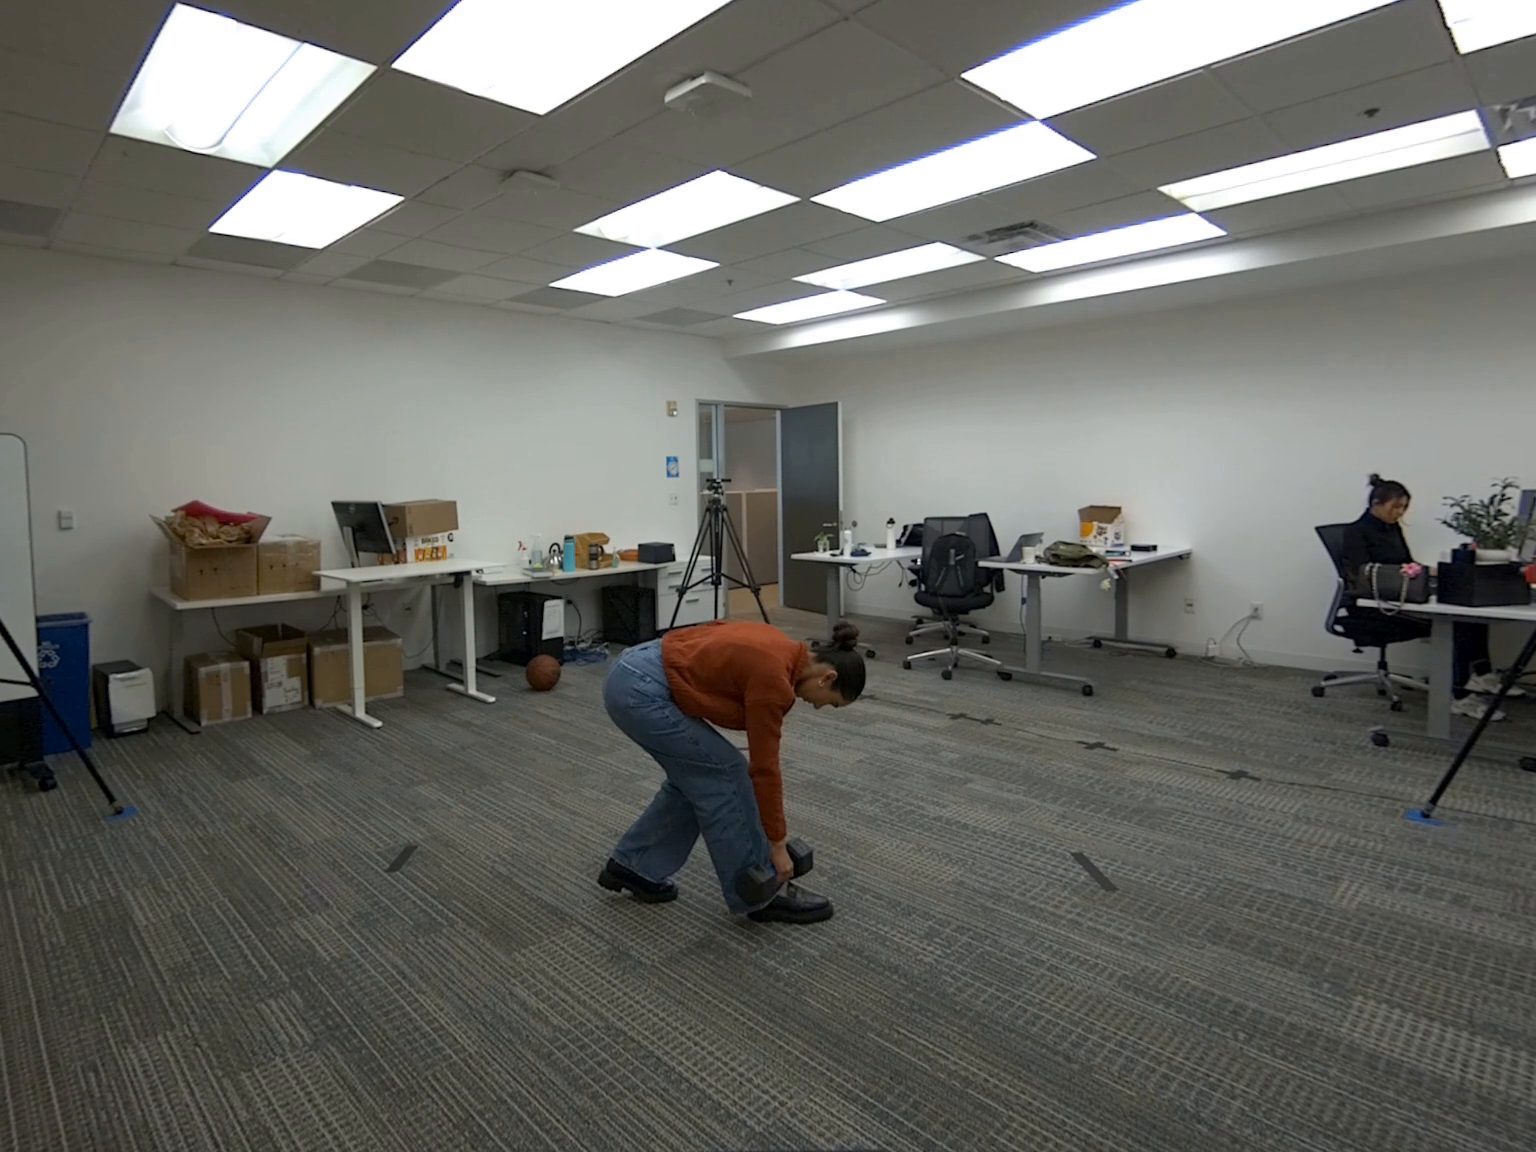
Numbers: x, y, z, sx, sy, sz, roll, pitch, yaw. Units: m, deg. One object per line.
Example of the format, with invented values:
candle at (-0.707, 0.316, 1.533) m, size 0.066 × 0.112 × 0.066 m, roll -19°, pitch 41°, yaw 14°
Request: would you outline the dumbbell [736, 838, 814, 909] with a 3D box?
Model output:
dumbbell at (0.030, 0.922, 2.658) m, size 0.112 × 0.122 × 0.286 m, roll 1°, pitch 6°, yaw 39°
